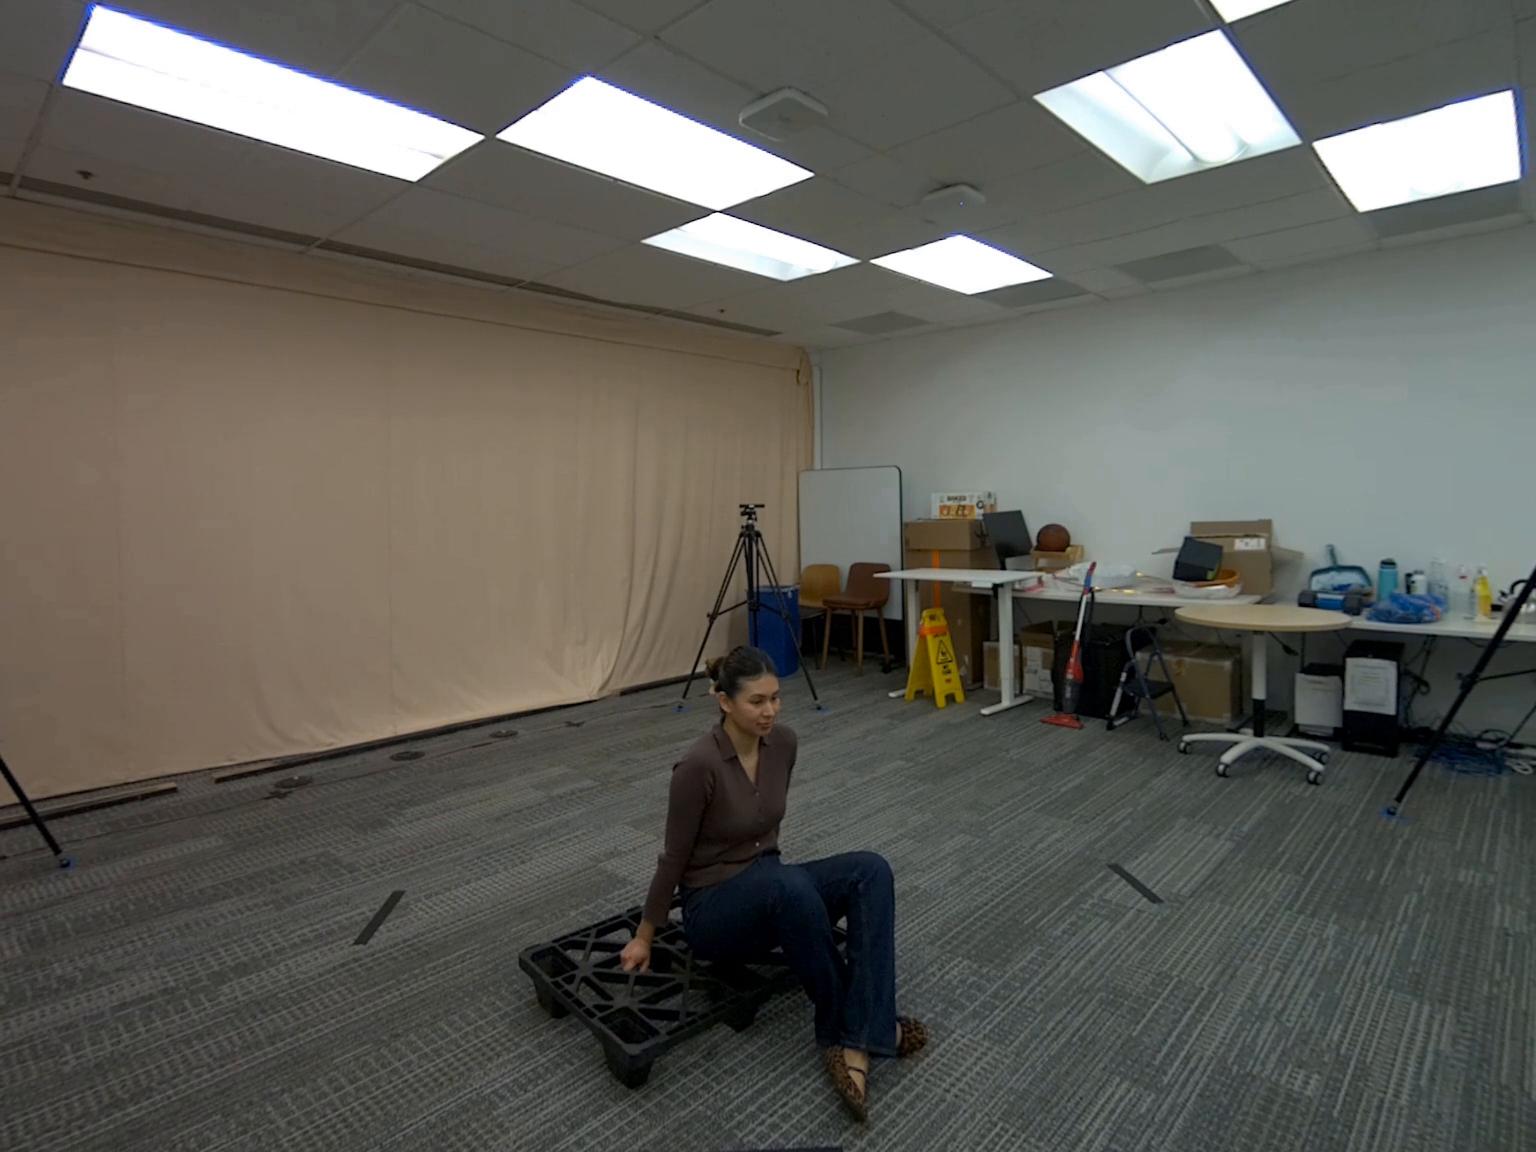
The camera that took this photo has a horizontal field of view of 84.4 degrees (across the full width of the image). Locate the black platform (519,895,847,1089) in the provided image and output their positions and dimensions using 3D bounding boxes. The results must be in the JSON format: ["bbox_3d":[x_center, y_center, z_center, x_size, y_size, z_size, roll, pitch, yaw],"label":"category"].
[{"bbox_3d":[-0.223,1.128,2.418,0.781,0.143,0.625,-4,6,-40],"label":"black platform"}]
